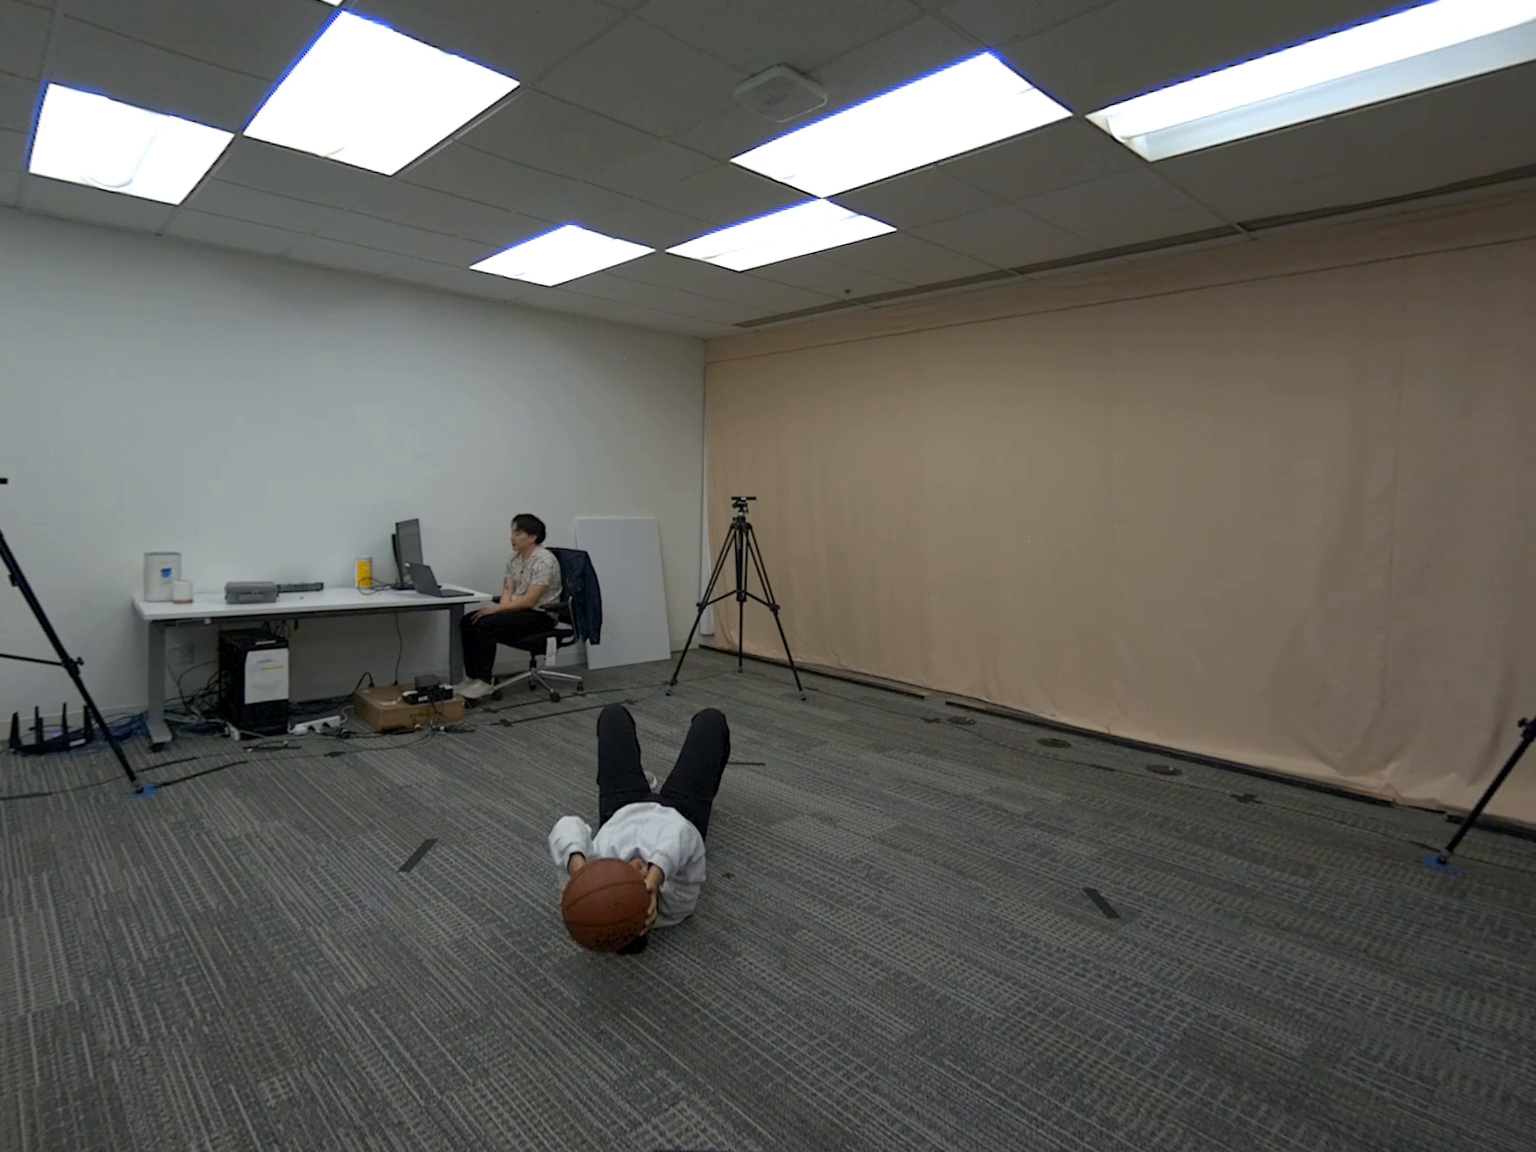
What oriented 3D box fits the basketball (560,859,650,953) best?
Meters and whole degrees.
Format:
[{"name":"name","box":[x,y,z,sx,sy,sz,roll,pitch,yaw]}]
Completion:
[{"name":"basketball","box":[-0.449,0.893,2.307,0.236,0.235,0.237,1,4,-1]}]
